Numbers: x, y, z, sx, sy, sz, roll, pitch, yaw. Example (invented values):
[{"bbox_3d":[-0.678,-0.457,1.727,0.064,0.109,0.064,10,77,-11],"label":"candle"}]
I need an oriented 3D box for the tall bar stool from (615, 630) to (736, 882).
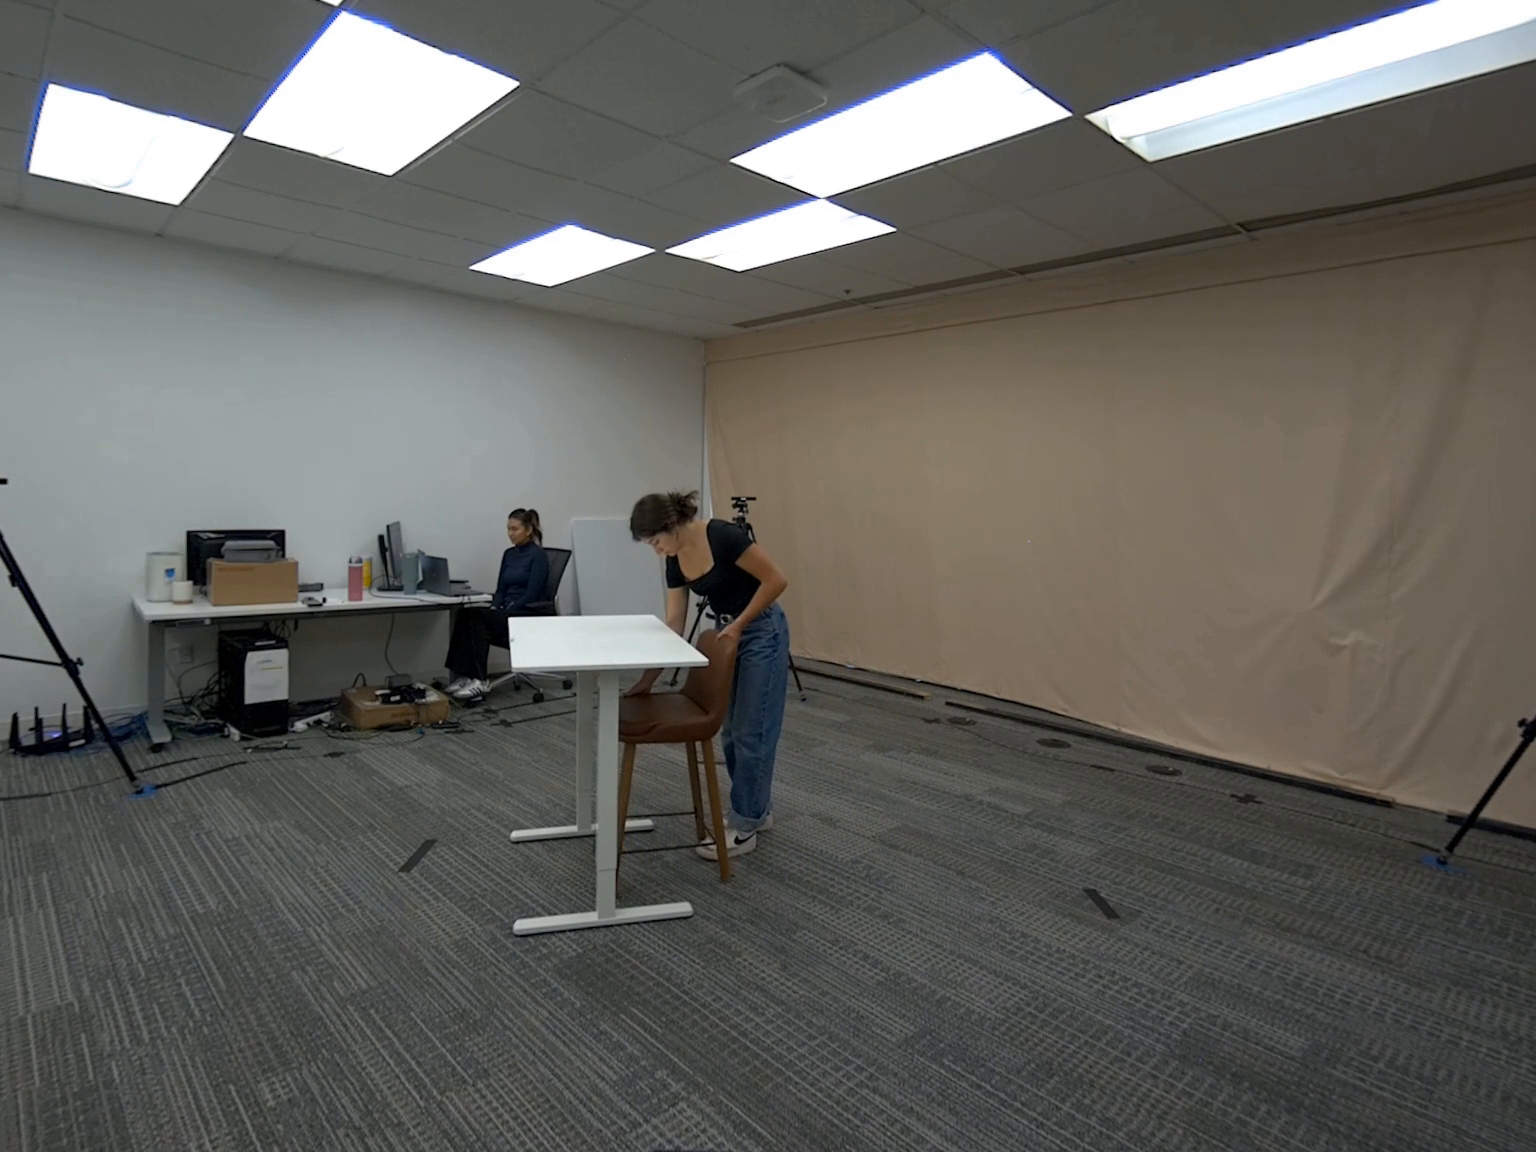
[{"bbox_3d":[-0.393,0.664,3.132,0.461,0.888,0.464,3,3,-18],"label":"tall bar stool"}]
